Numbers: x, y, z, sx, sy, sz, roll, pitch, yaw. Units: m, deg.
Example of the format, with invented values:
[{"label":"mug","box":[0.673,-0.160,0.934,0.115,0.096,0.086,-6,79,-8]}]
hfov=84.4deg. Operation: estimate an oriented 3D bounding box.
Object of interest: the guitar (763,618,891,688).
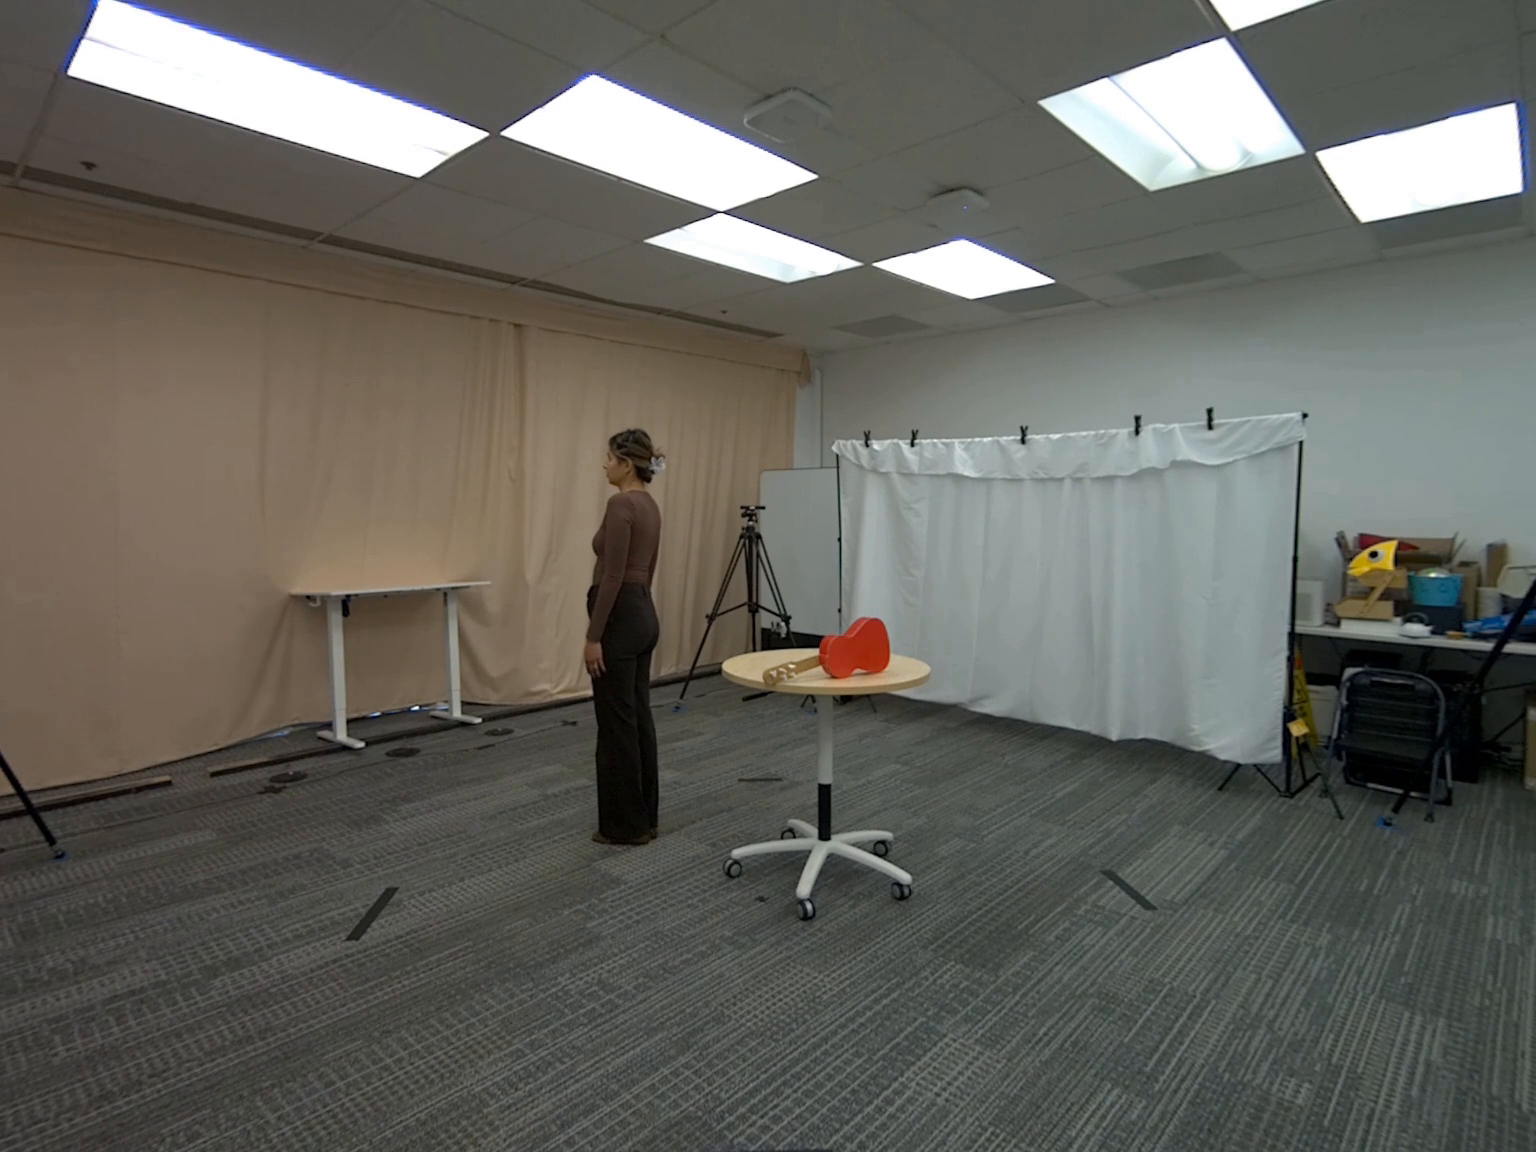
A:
[{"label":"guitar","box":[0.222,0.313,2.898,0.489,0.191,0.073,-24,12,-27]}]
